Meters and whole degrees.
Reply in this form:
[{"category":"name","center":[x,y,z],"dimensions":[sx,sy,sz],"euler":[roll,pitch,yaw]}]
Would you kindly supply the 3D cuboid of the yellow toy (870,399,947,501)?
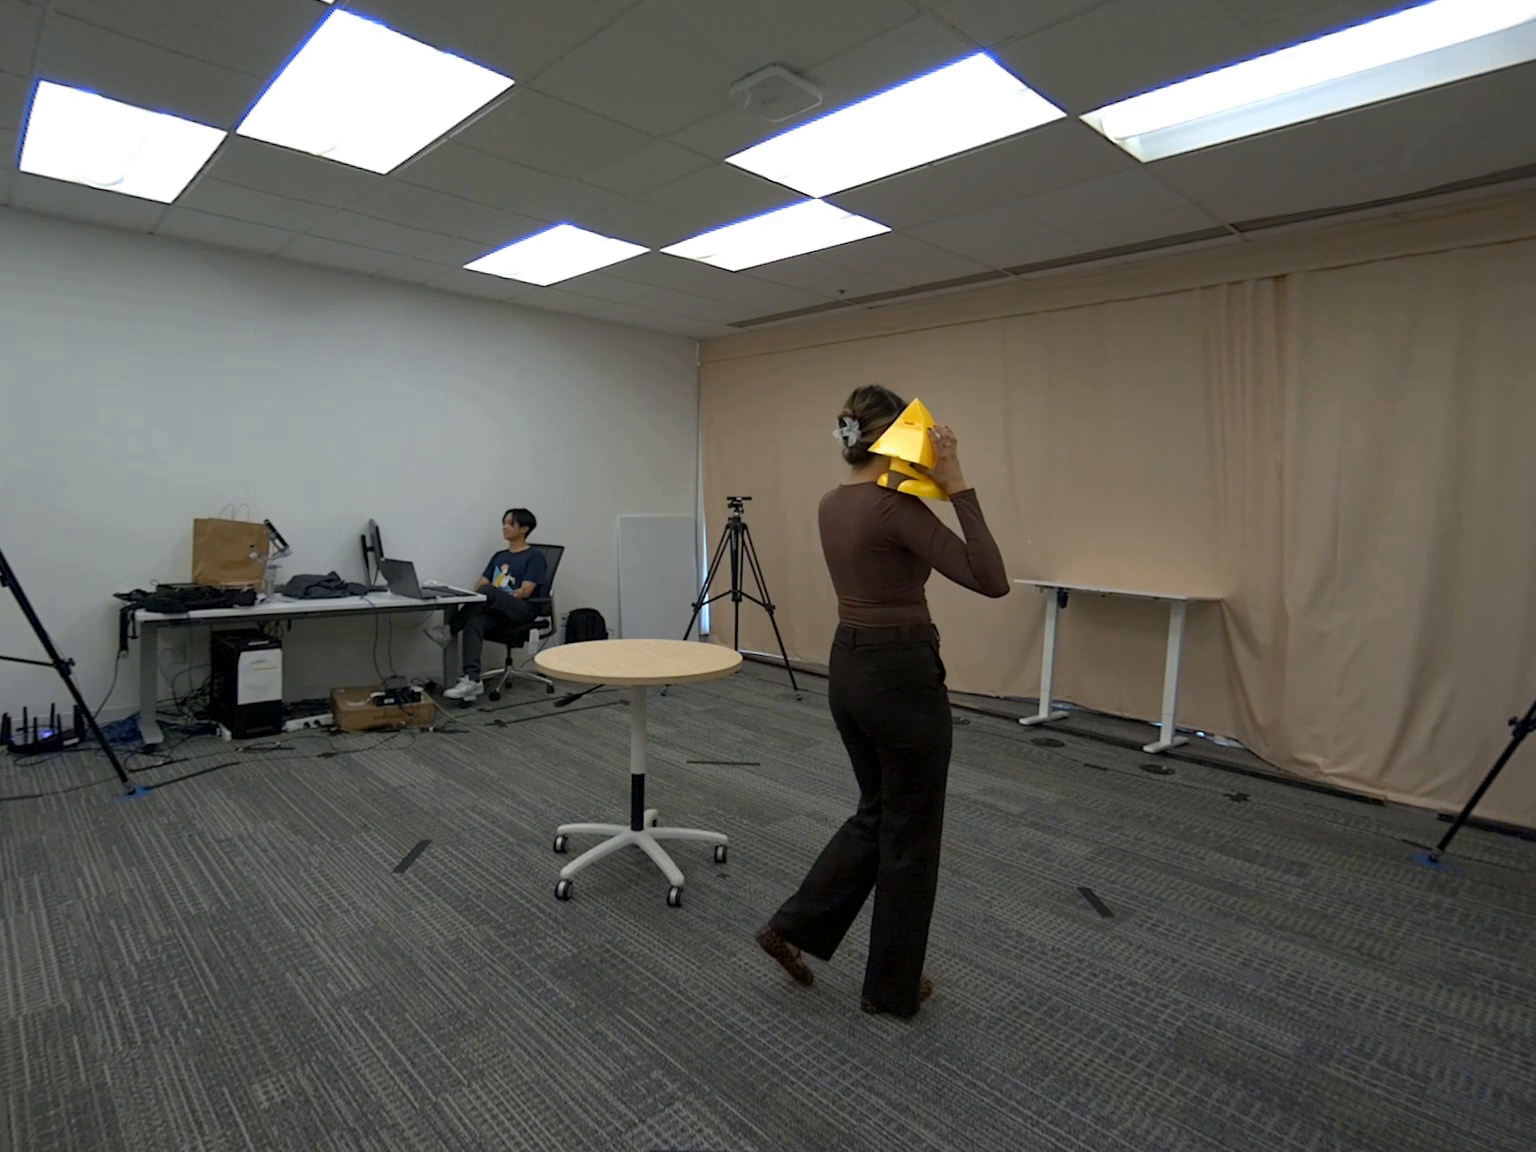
[{"category":"yellow toy","center":[0.382,-0.321,2.116],"dimensions":[0.188,0.229,0.210],"euler":[8,11,-32]}]
